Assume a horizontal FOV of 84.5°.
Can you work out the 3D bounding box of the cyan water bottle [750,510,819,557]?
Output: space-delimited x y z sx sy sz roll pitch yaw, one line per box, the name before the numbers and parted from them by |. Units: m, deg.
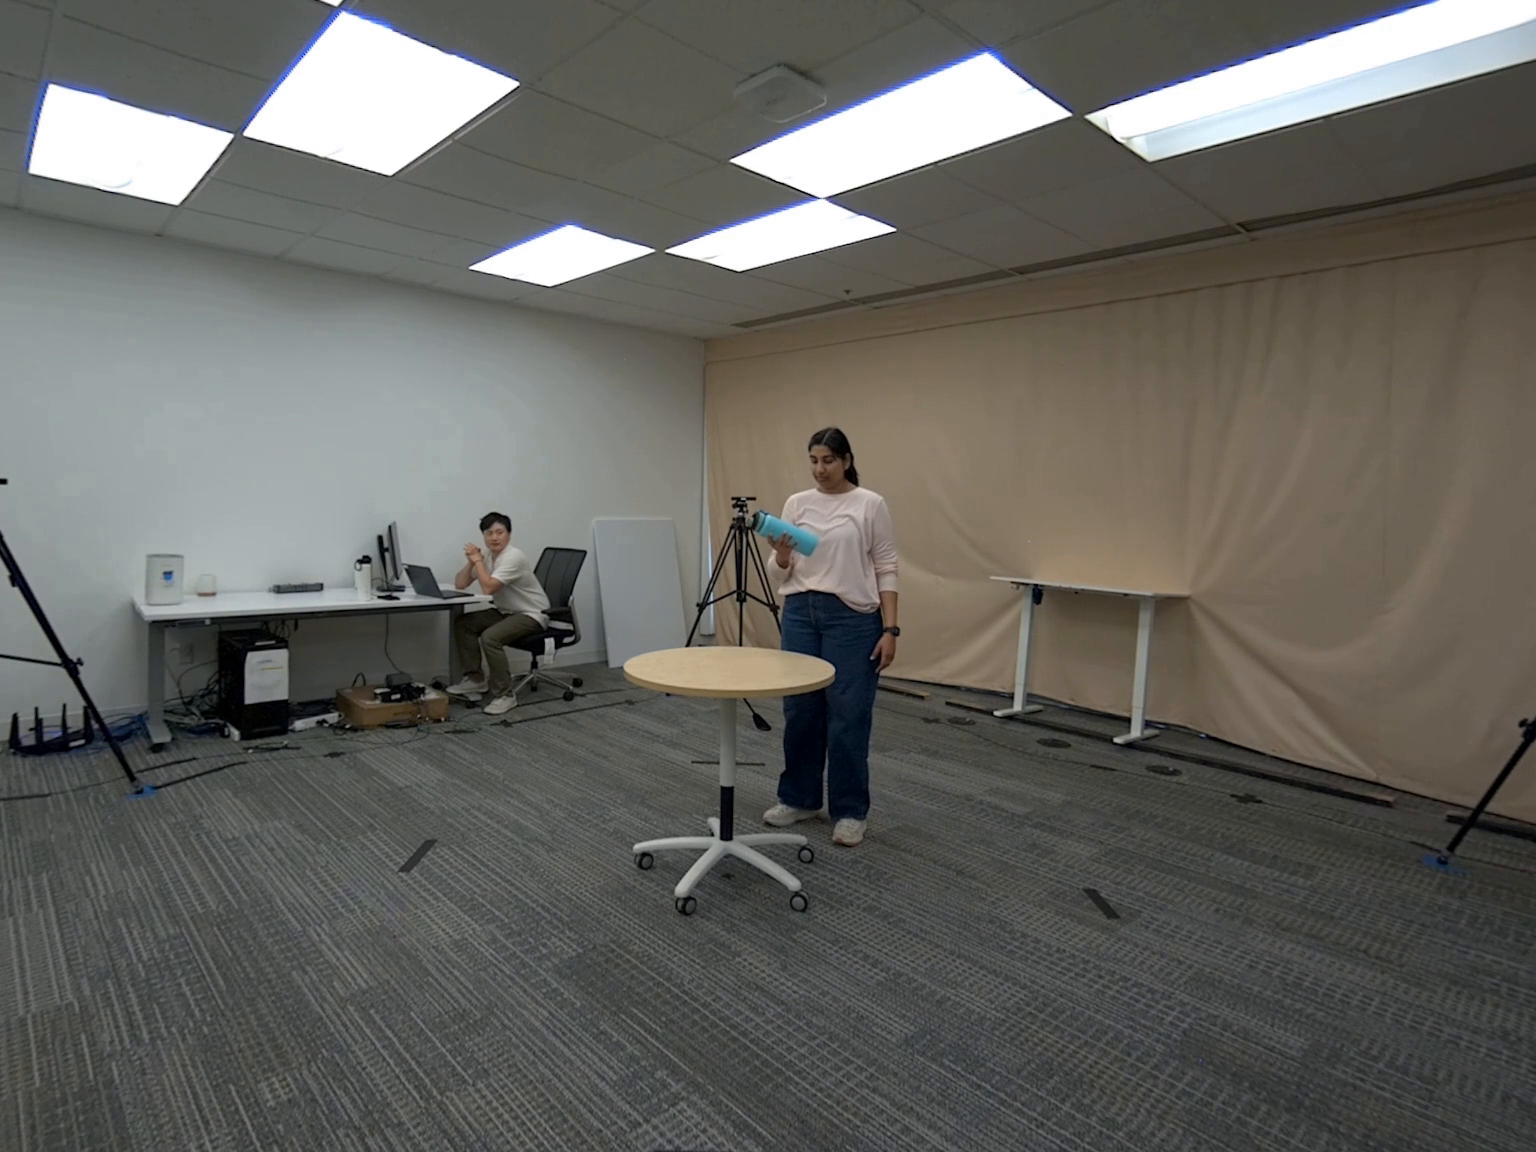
cyan water bottle | 0.047 -0.174 3.301 0.280 0.092 0.093 25 -1 -11
